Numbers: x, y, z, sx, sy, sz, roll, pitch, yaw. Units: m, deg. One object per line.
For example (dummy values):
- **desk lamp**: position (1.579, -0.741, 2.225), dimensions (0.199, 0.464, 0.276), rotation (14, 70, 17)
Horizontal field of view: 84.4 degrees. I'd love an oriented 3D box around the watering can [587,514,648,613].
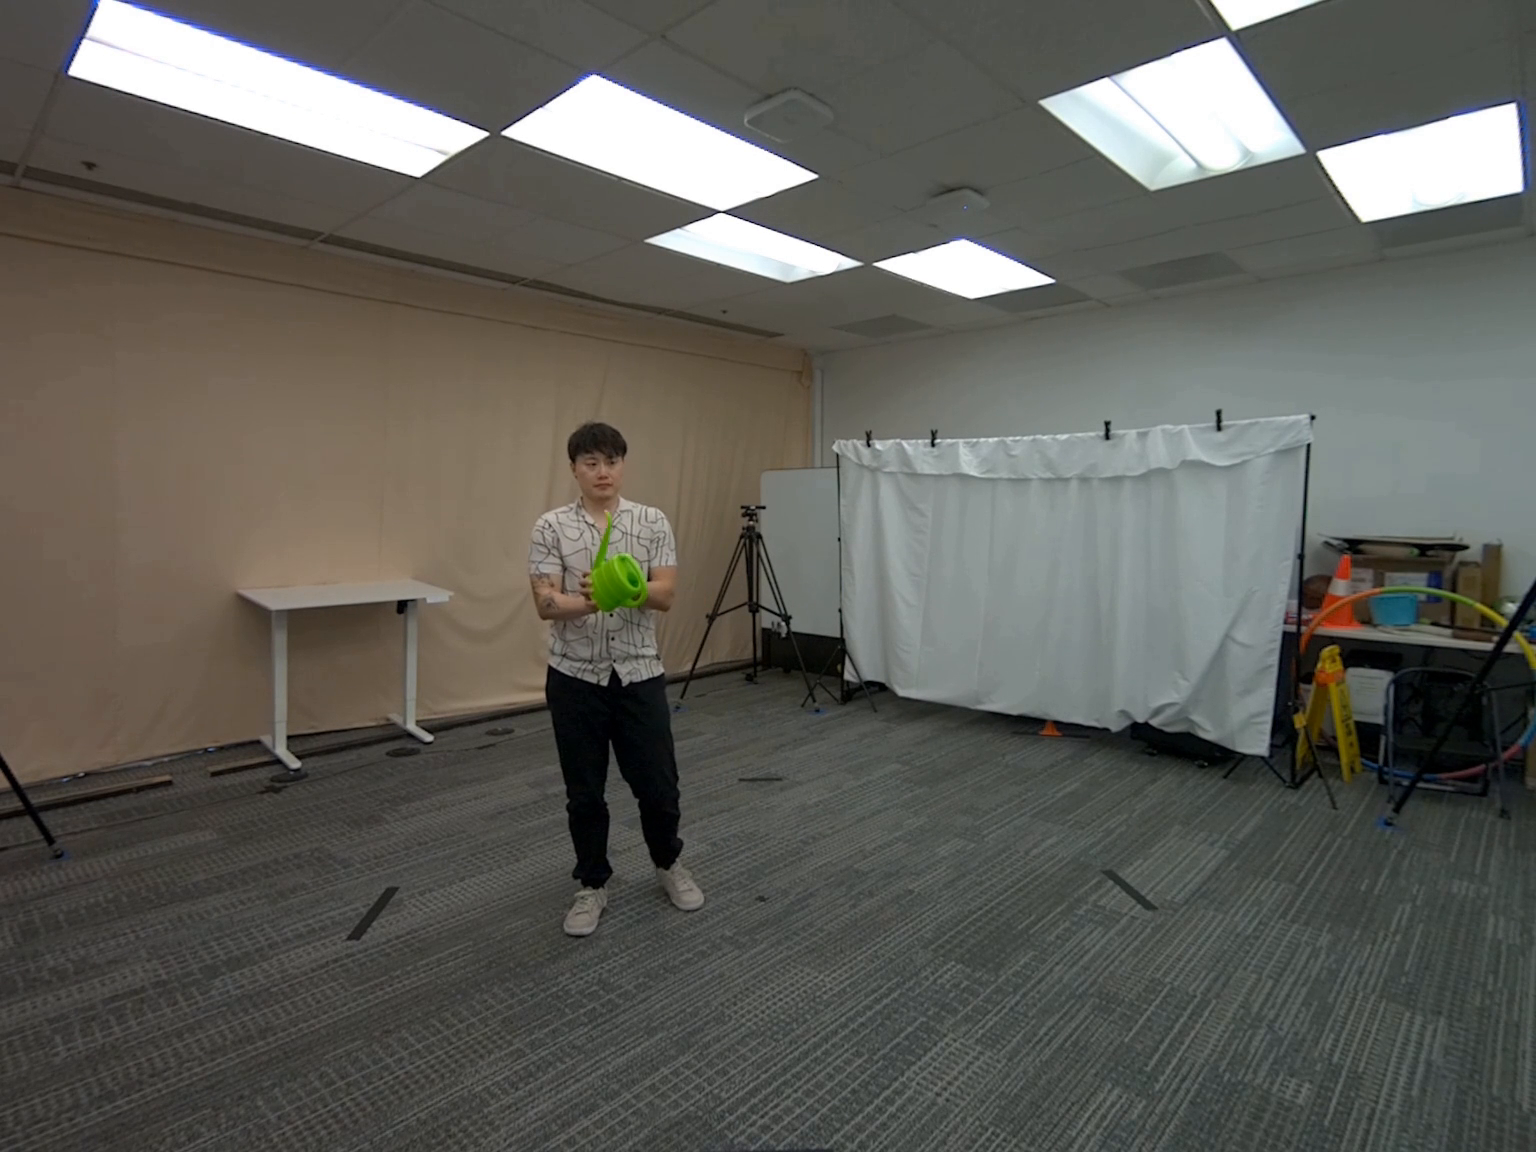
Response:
- **watering can**: position (-0.439, -0.028, 2.448), dimensions (0.179, 0.283, 0.095), rotation (-31, -20, 29)
